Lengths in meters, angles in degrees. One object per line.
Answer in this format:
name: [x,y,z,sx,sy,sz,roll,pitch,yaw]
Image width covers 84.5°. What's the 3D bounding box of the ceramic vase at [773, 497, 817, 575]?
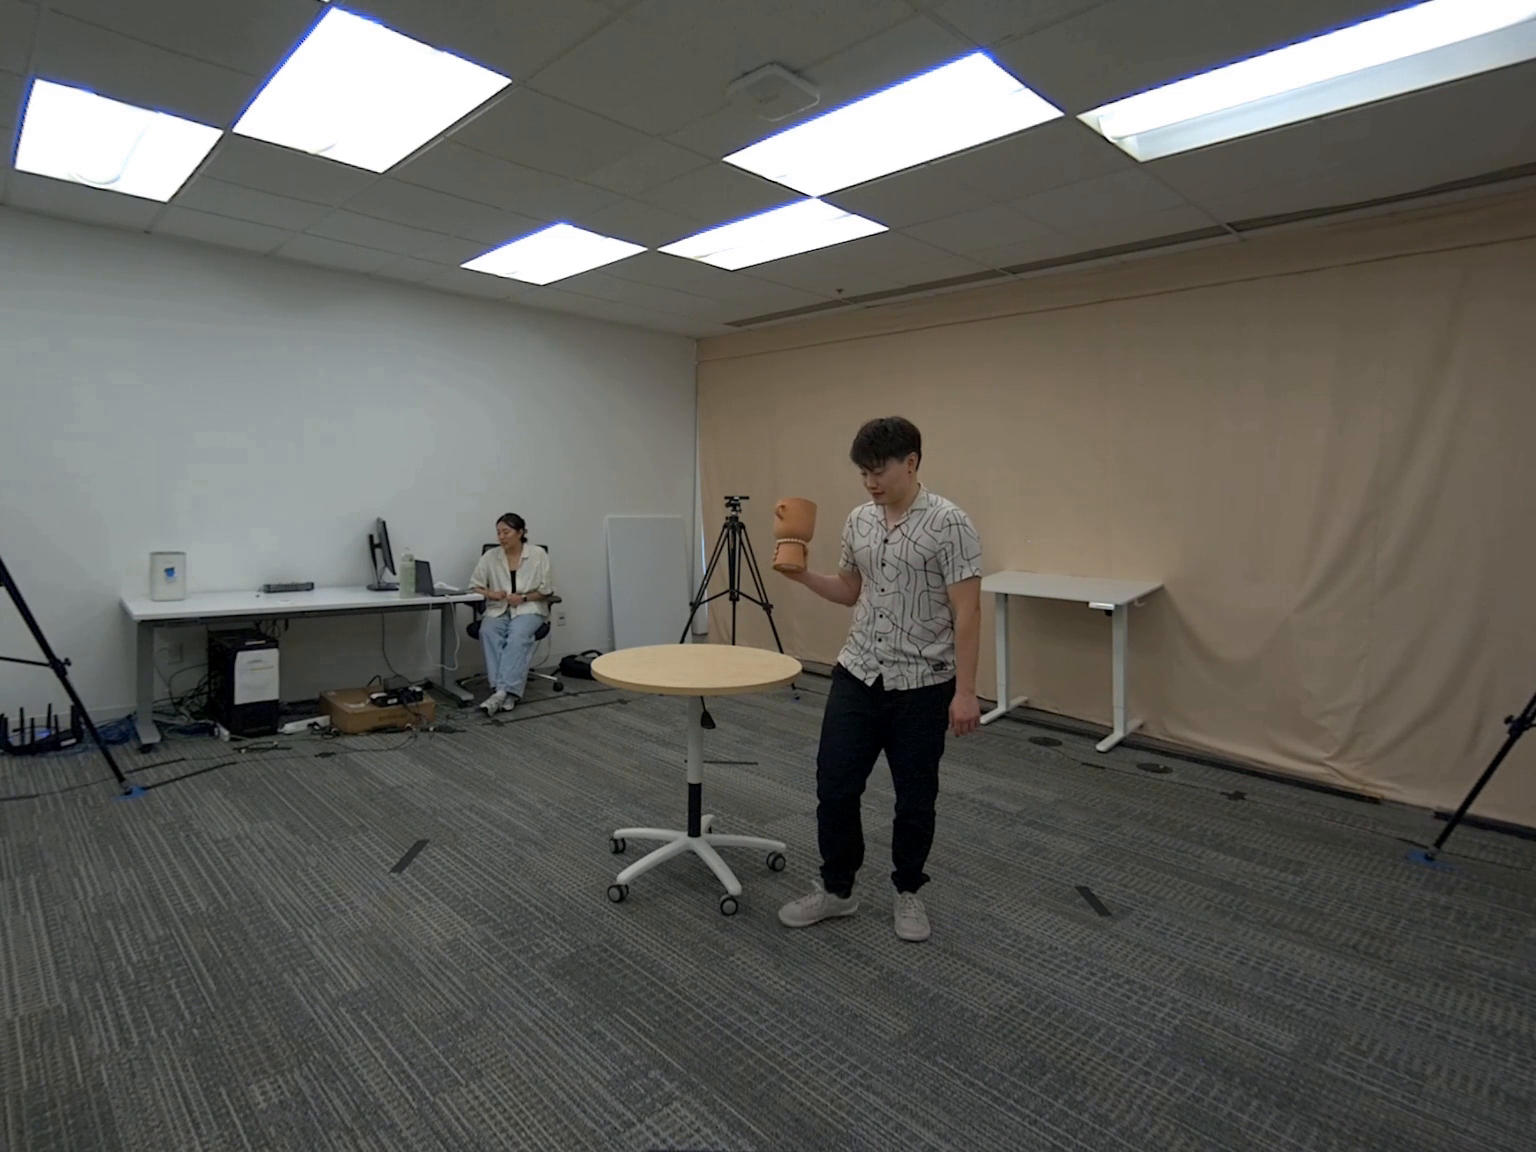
ceramic vase: [0.070,-0.131,2.749,0.158,0.222,0.134,9,-16,-8]
